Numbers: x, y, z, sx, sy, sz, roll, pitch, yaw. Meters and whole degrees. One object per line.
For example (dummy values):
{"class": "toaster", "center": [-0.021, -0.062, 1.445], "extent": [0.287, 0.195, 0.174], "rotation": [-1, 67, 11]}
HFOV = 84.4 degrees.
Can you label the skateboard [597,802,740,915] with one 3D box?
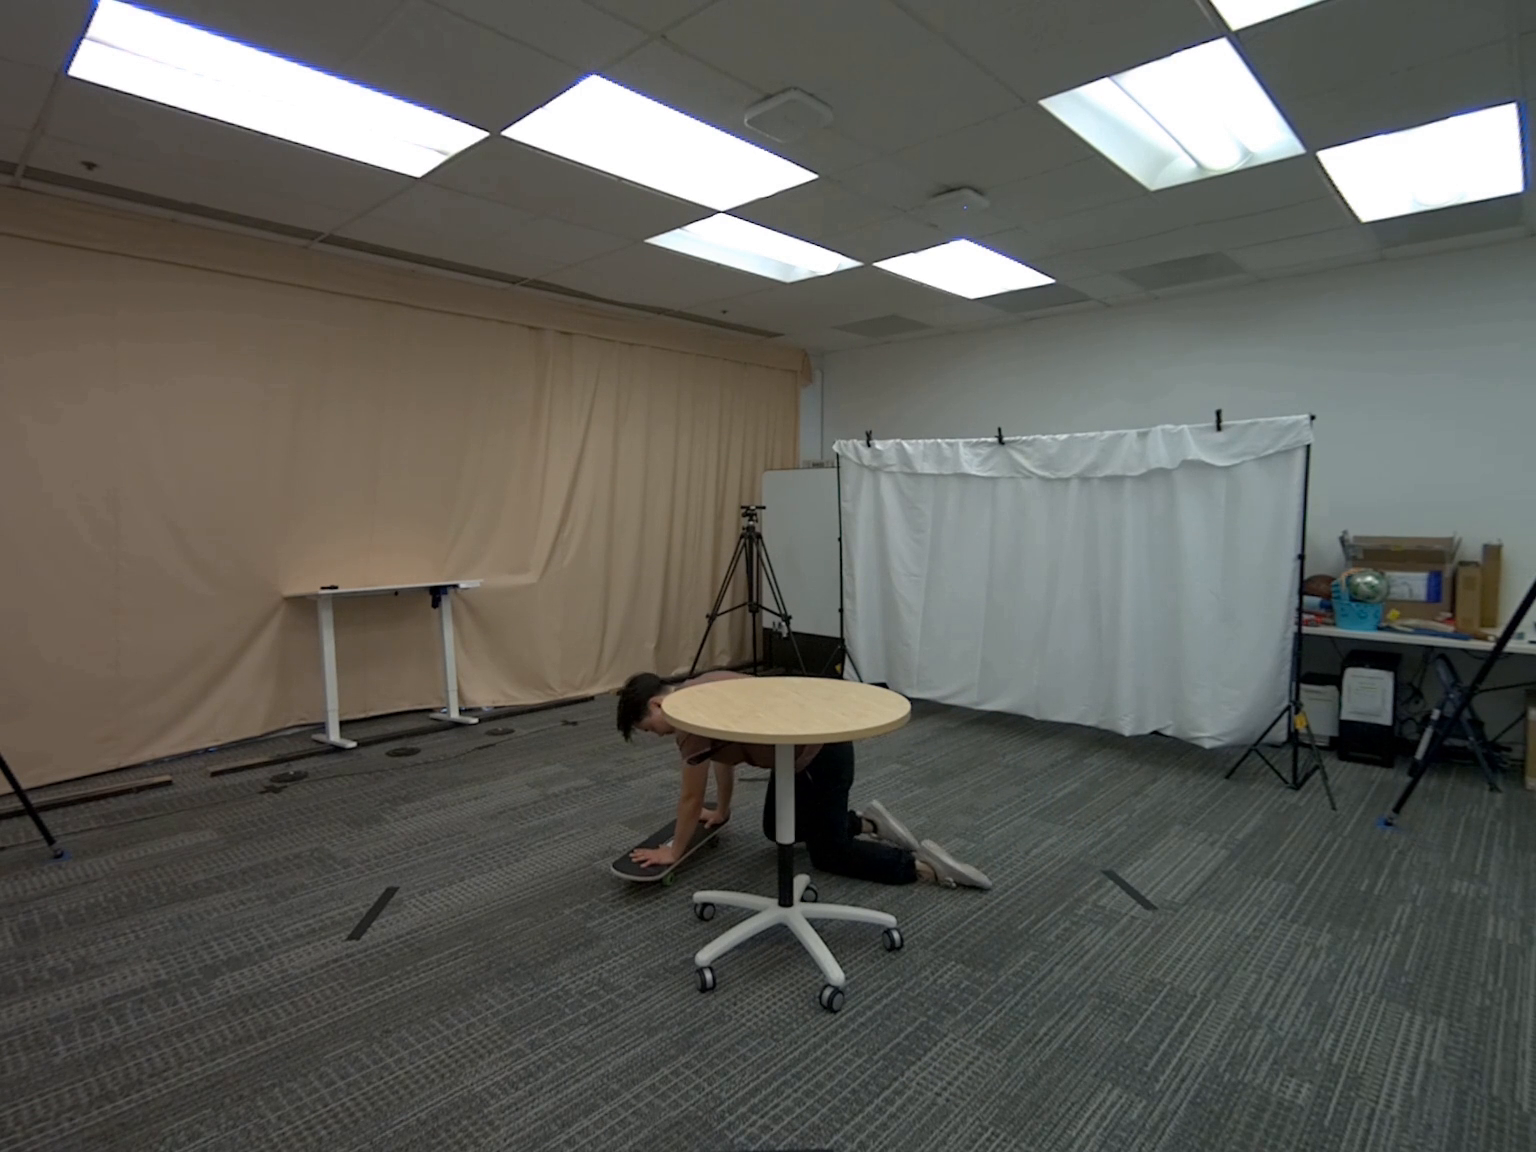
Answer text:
{"class": "skateboard", "center": [-0.365, 1.070, 3.302], "extent": [0.198, 0.110, 0.768], "rotation": [6, 6, 22]}
